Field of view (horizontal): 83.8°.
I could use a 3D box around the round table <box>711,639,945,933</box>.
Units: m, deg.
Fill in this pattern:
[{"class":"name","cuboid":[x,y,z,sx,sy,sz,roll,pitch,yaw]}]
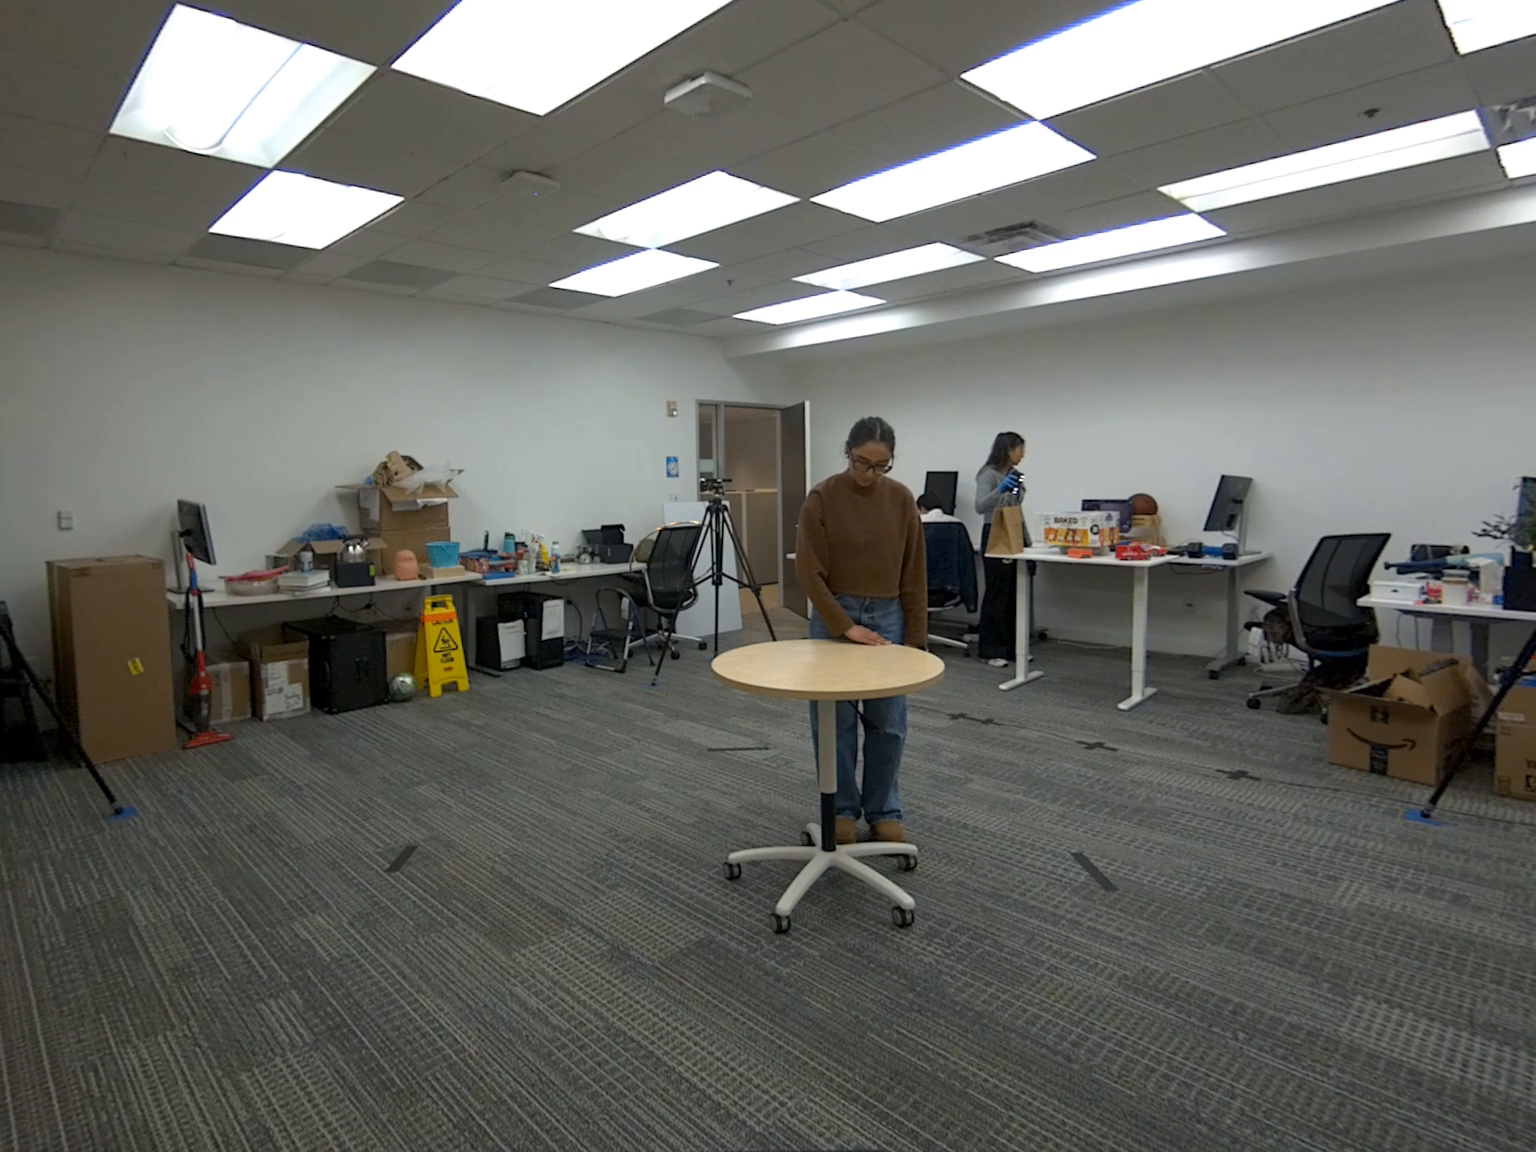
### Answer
[{"class":"round table","cuboid":[0.203,0.680,2.872,0.763,0.791,0.768,-1,5,-2]}]
